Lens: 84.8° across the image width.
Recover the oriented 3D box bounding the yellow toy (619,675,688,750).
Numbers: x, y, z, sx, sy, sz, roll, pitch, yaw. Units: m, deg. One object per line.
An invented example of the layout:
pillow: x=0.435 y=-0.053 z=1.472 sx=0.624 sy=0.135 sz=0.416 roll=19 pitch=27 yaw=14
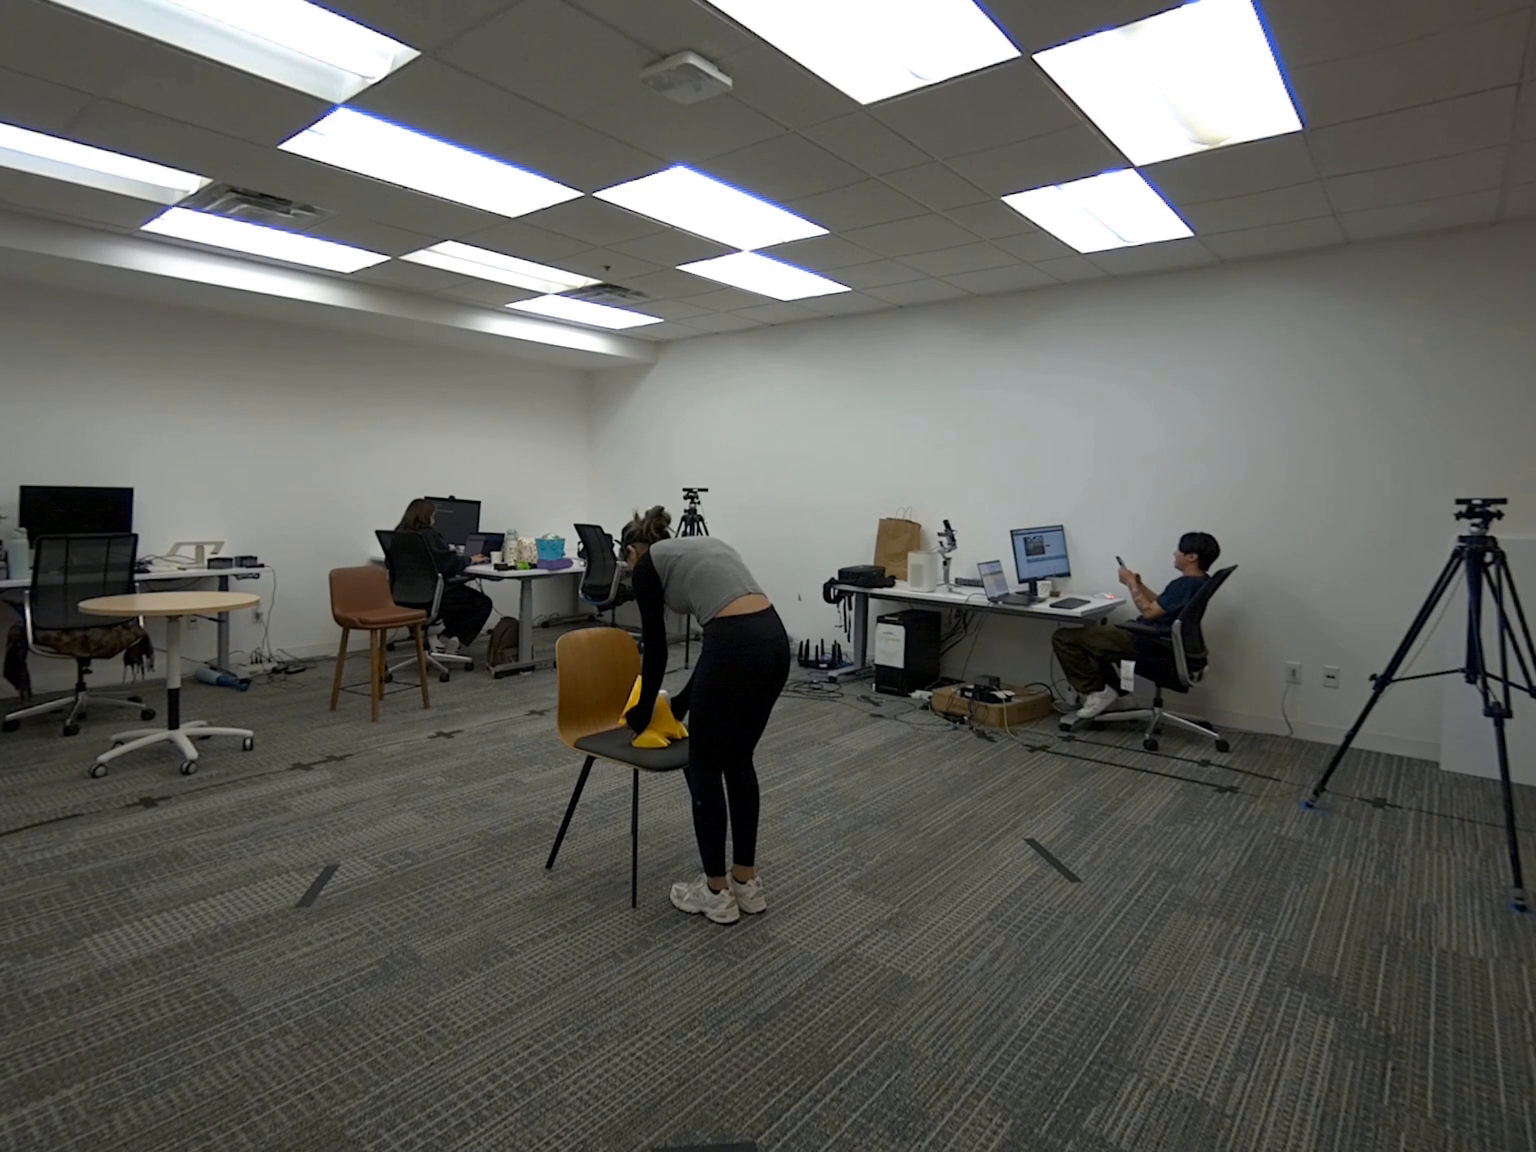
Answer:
yellow toy: x=-0.415 y=0.473 z=3.057 sx=0.198 sy=0.230 sz=0.200 roll=-3 pitch=3 yaw=32
